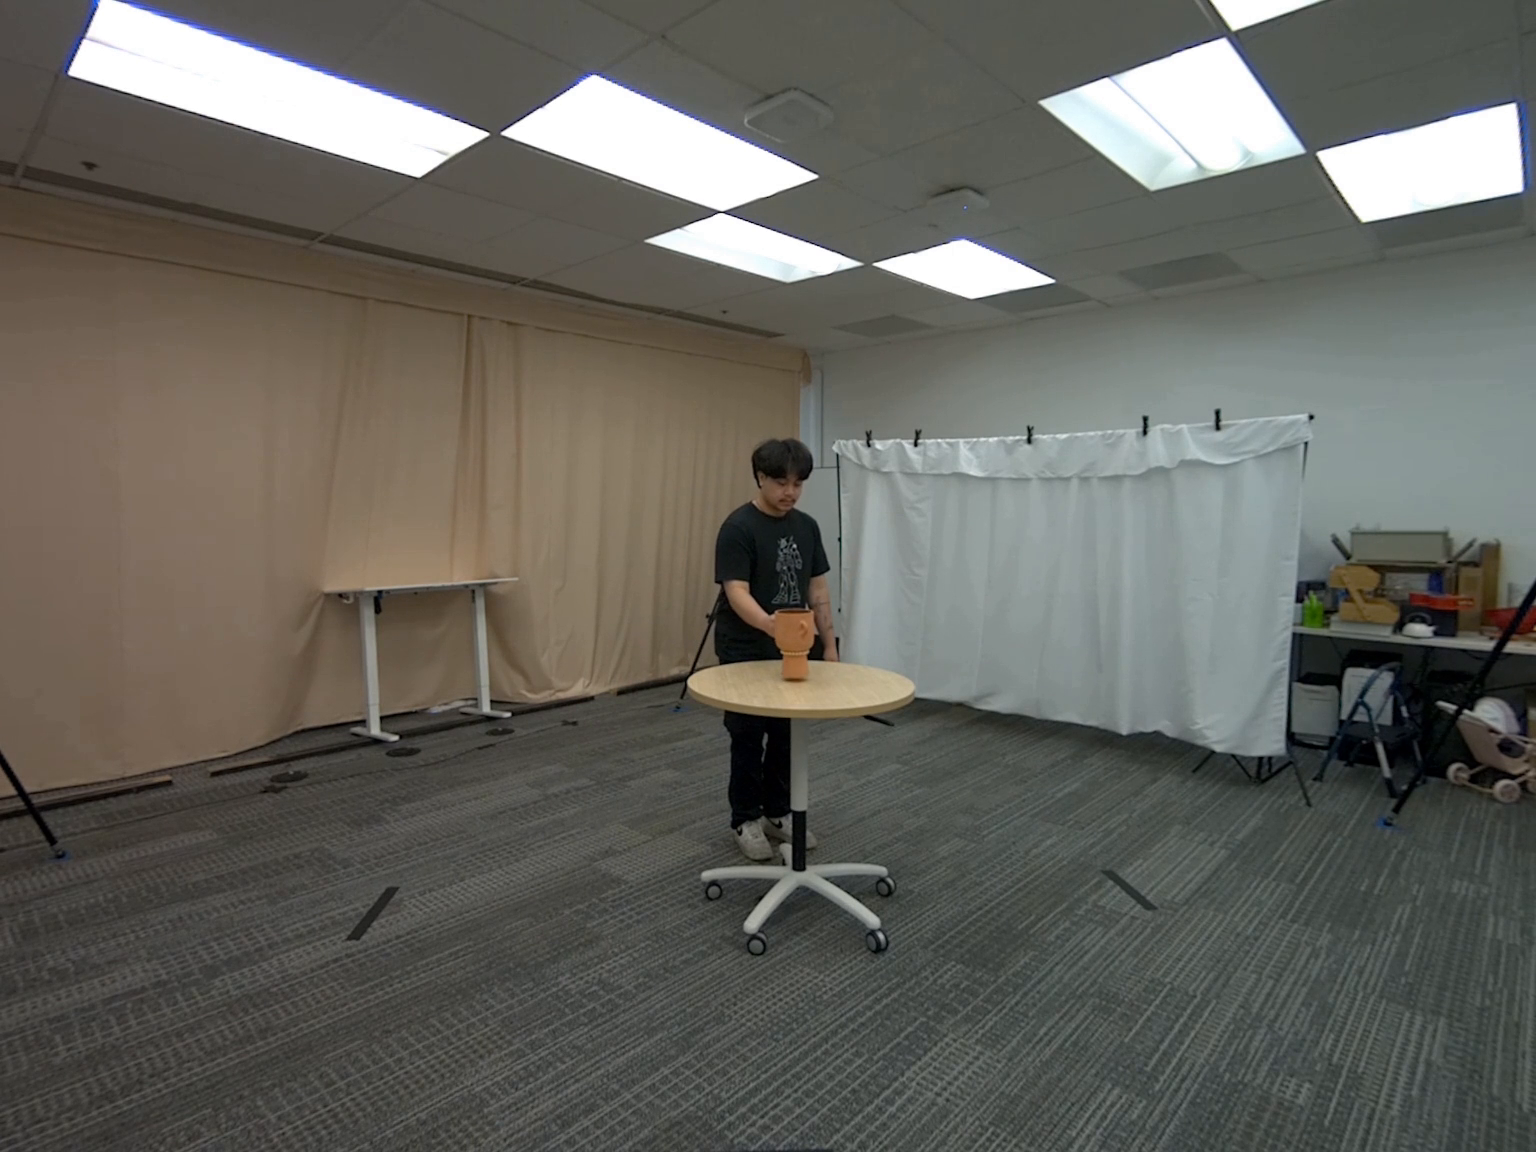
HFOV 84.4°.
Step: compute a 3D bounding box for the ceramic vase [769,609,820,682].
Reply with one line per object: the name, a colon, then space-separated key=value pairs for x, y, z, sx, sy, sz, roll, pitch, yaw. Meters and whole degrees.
ceramic vase: x=0.090 y=0.227 z=2.881 sx=0.137 sy=0.219 sz=0.156 roll=1 pitch=5 yaw=18
